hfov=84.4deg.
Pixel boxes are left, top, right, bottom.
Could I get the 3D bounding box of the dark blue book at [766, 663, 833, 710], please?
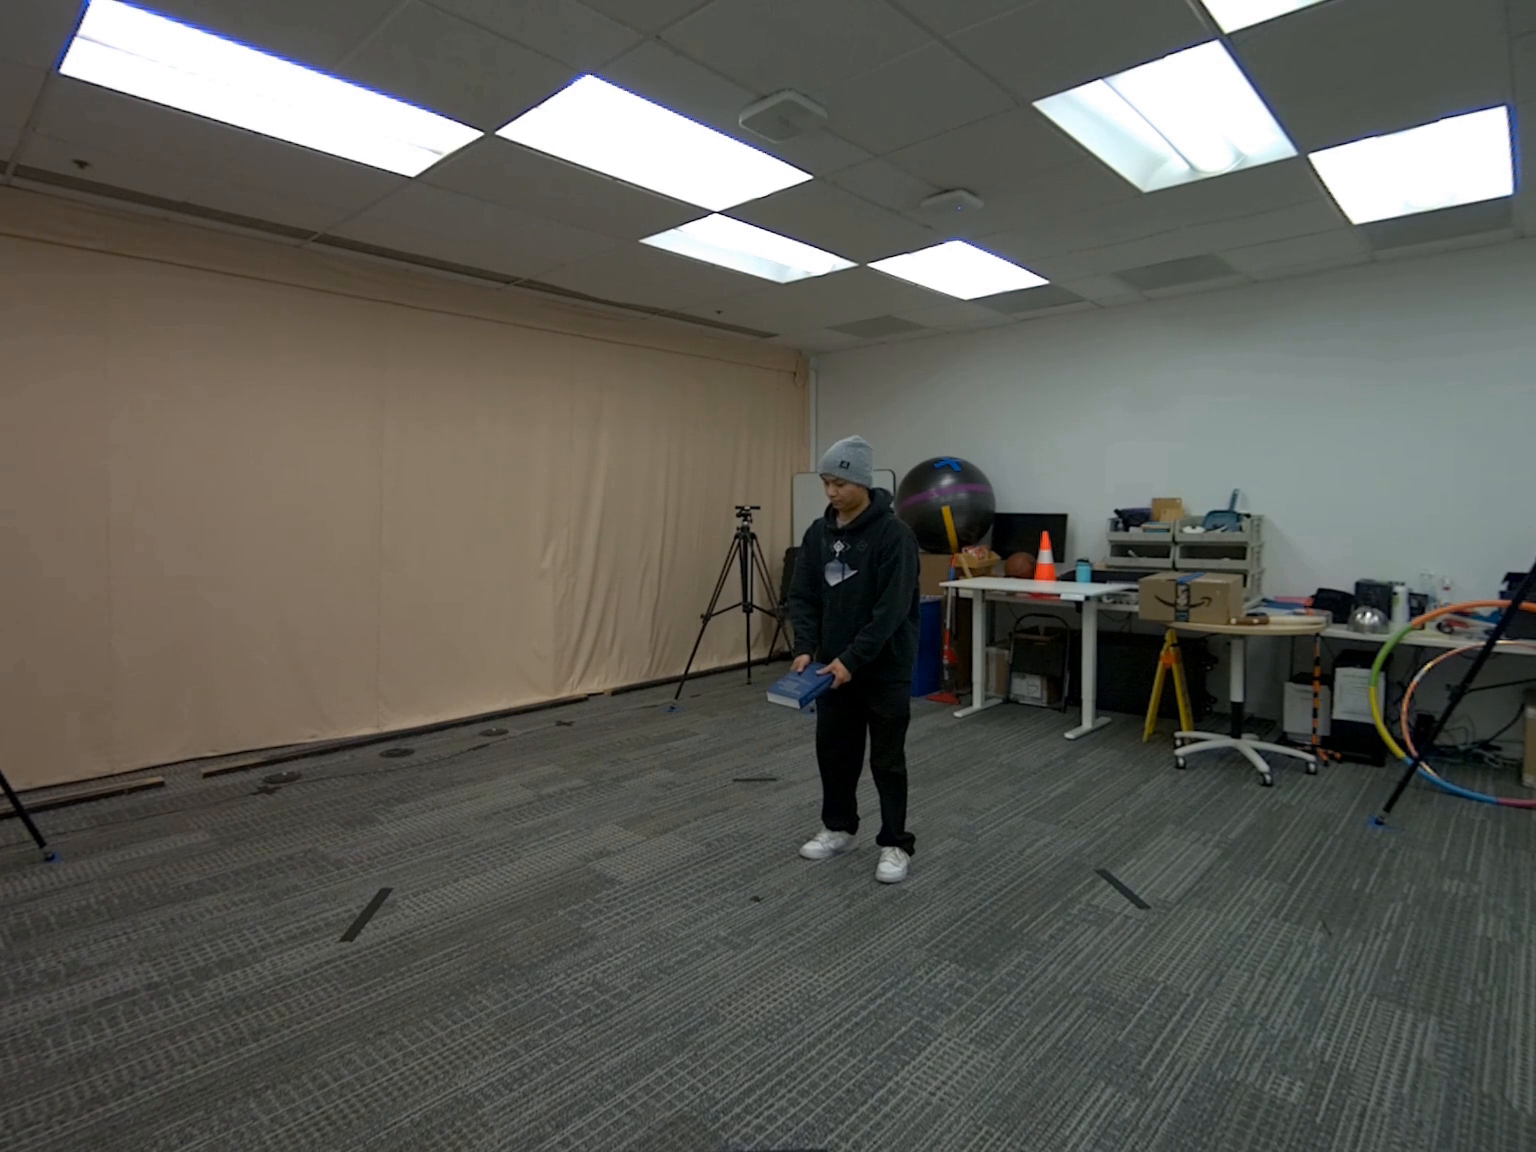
[{"bbox_3d":[0.137,0.402,3.044,0.240,0.044,0.169,-25,21,-35],"label":"dark blue book"}]
